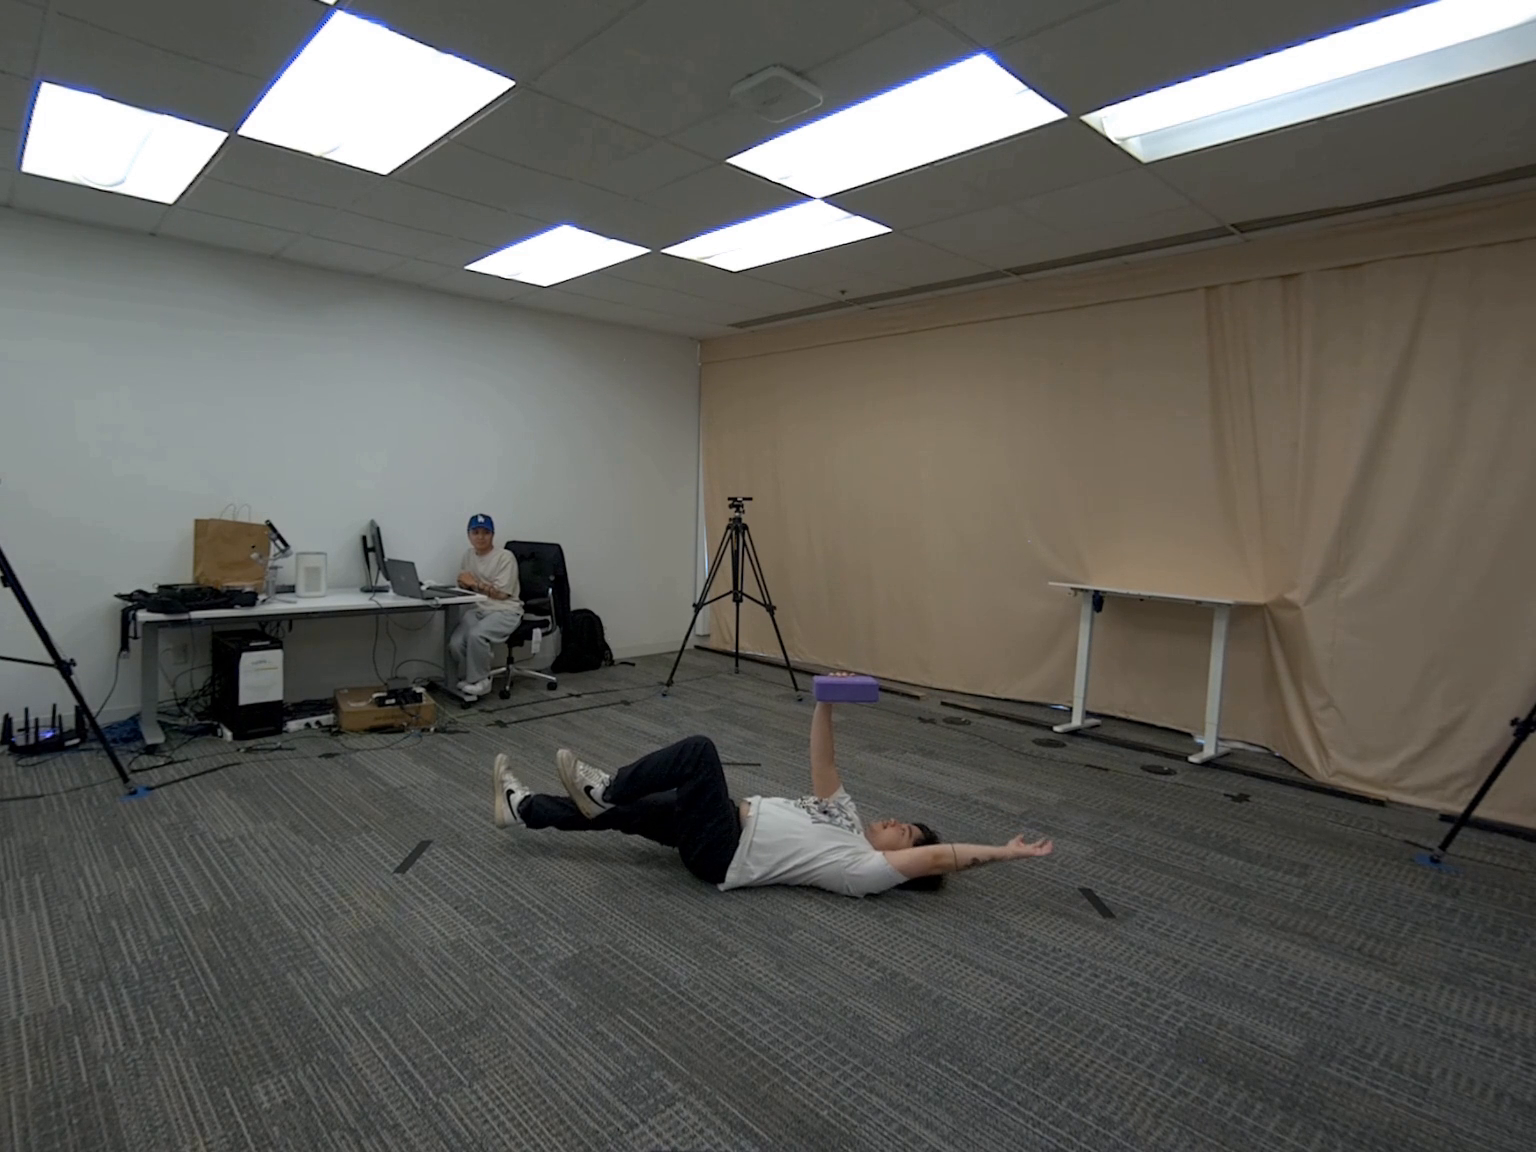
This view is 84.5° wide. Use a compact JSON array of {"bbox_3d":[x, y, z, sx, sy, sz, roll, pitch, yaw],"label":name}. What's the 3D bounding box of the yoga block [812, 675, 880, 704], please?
[{"bbox_3d":[0.283,0.422,3.120,0.230,0.076,0.148,0,-1,5],"label":"yoga block"}]
